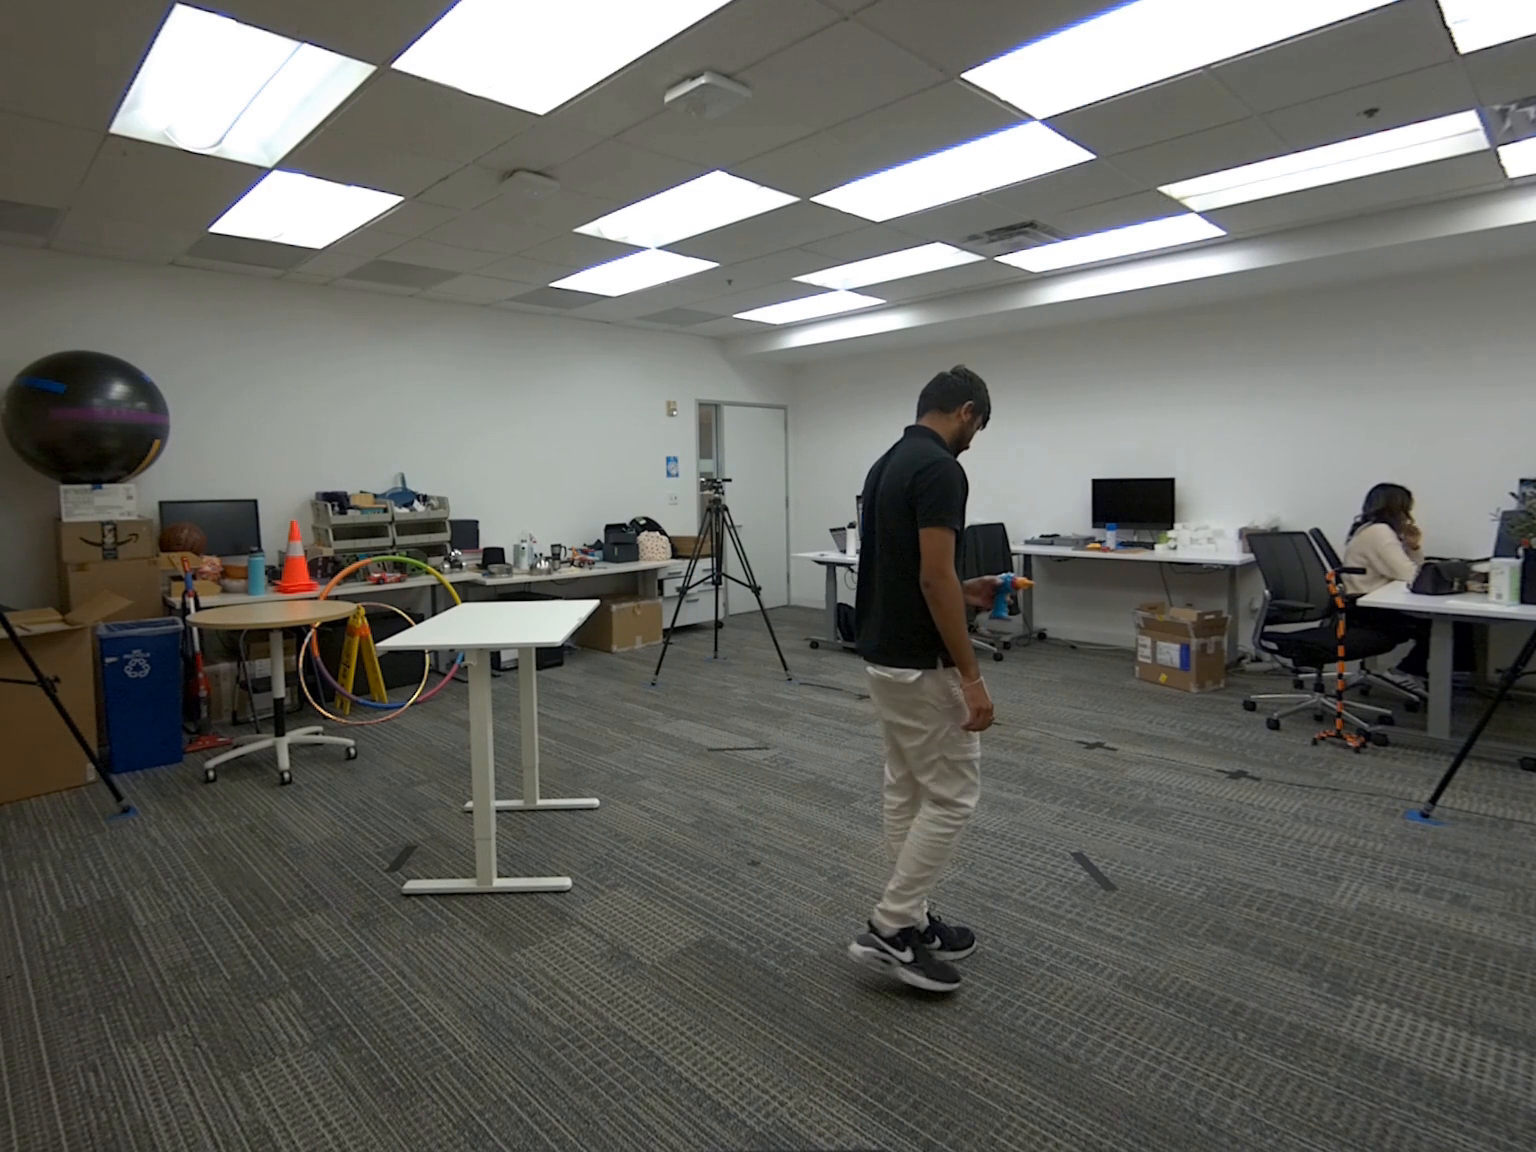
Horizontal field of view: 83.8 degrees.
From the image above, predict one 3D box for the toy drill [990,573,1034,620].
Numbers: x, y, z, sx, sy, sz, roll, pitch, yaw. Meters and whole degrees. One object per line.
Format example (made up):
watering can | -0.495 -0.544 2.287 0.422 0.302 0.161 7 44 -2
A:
toy drill | 0.713 0.063 2.532 0.059 0.147 0.173 12 -7 -27
